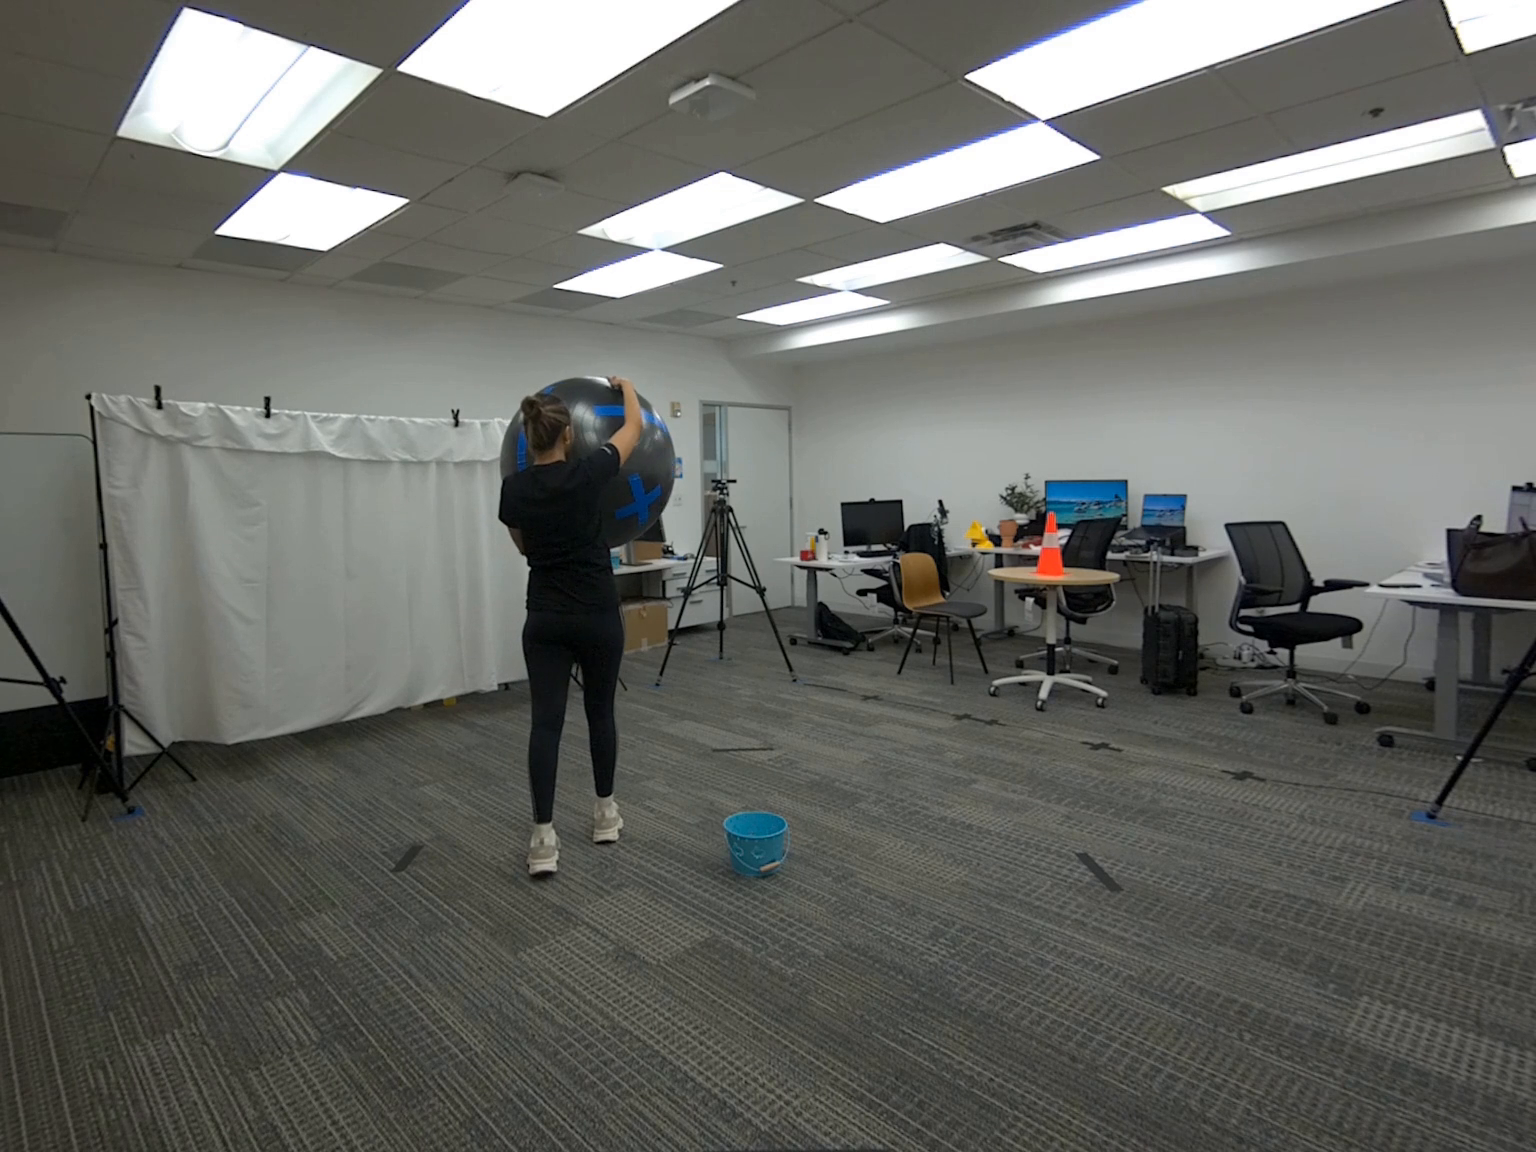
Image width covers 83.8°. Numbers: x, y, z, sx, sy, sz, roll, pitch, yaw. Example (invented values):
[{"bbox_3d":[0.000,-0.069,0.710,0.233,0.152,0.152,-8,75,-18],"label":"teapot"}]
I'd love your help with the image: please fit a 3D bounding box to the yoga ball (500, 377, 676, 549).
[{"bbox_3d":[-0.785,-0.471,3.734,0.757,0.755,0.762,-1,5,-2],"label":"yoga ball"}]
